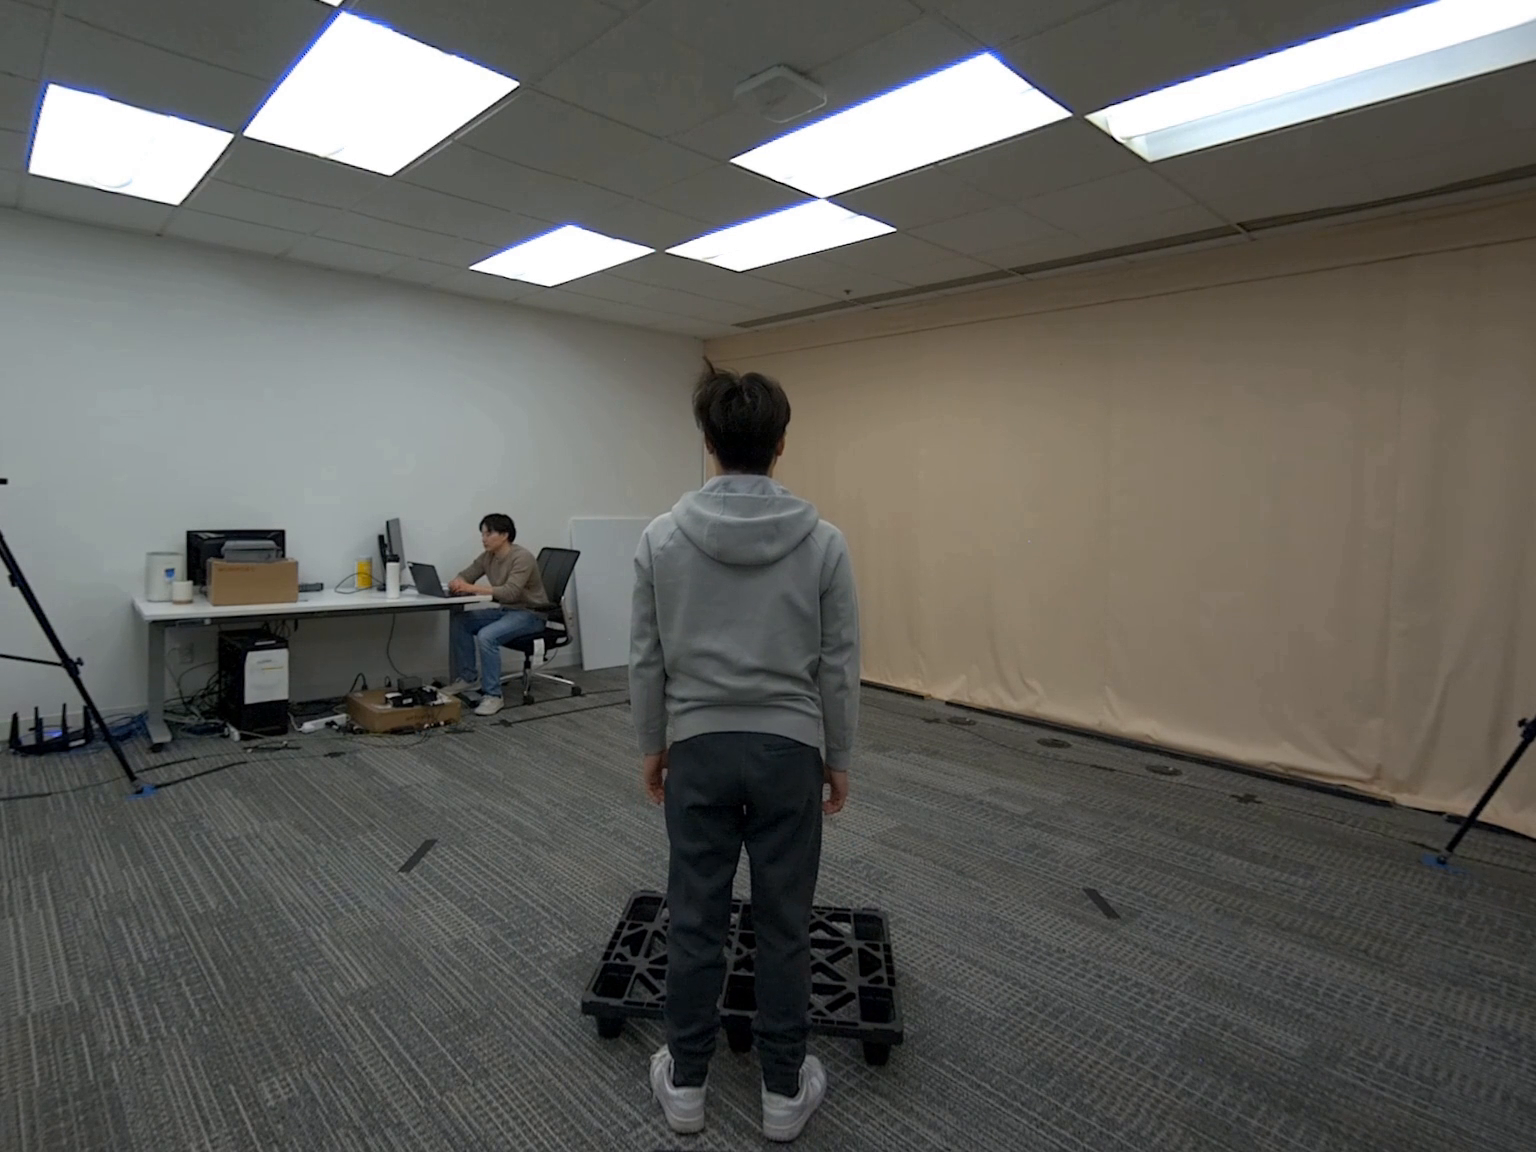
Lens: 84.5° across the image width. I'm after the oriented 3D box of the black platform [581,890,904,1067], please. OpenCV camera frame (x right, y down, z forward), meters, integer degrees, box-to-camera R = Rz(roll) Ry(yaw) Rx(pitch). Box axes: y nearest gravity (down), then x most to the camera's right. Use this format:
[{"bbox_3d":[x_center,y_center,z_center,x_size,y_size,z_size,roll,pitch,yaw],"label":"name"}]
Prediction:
[{"bbox_3d":[-0.056,1.112,2.345,0.810,0.143,0.604,2,6,6],"label":"black platform"}]
